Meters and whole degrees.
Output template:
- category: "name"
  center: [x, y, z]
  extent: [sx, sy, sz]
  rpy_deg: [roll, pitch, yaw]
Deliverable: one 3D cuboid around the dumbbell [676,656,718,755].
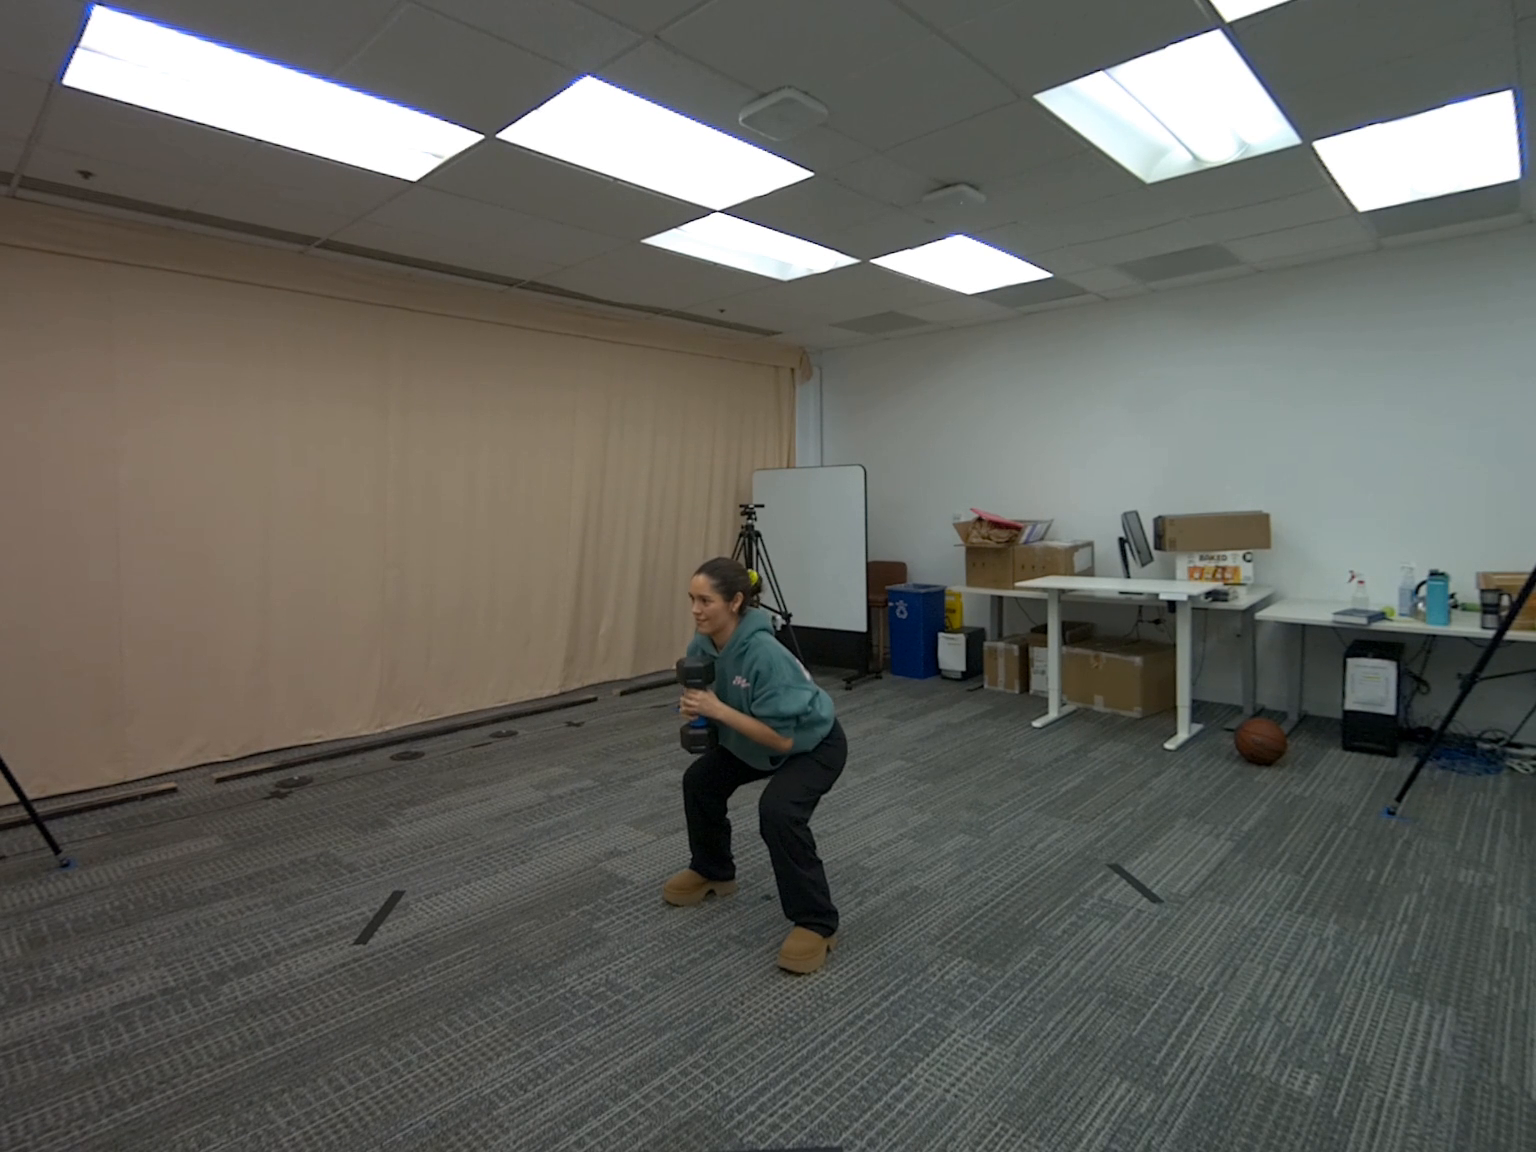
- category: "dumbbell"
  center: [-0.211, 0.394, 2.650]
  extent: [0.124, 0.293, 0.108]
  rpy_deg: [0, 4, 5]
